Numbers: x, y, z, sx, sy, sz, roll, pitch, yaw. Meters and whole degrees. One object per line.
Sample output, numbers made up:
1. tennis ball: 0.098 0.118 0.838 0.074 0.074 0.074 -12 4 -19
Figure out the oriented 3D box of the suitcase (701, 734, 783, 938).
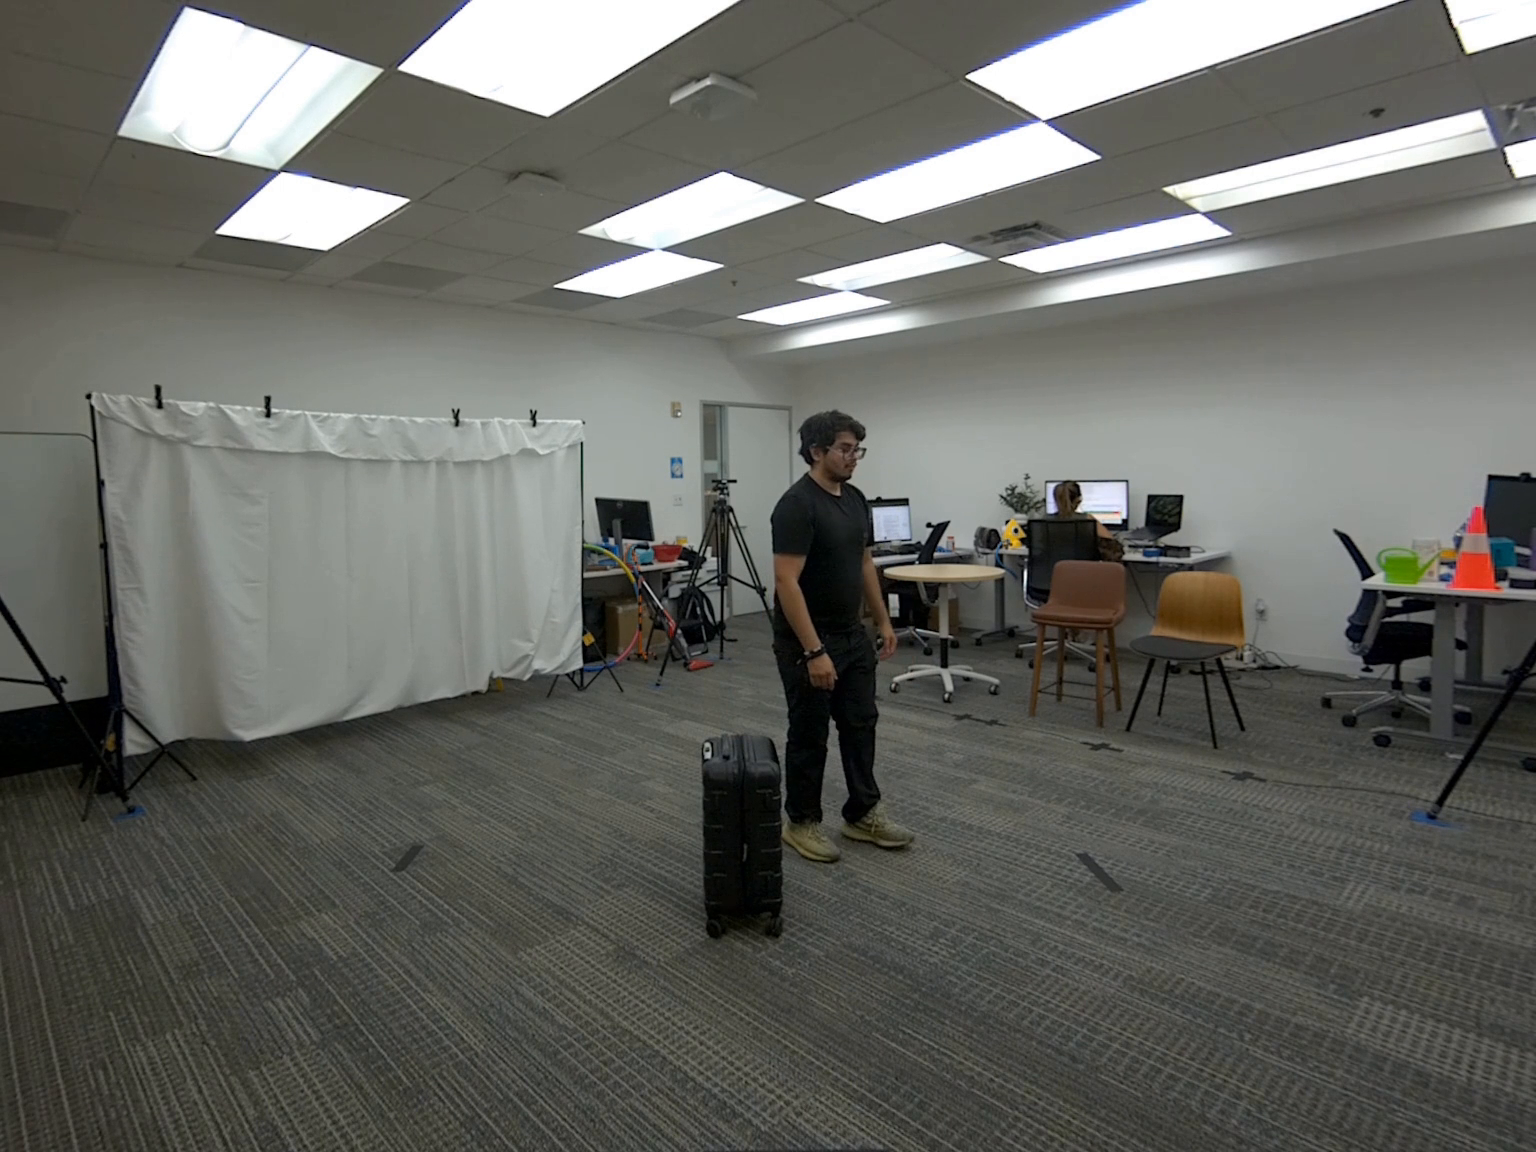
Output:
1. suitcase: -0.091 0.811 2.769 0.248 0.548 0.377 -1 4 -3
